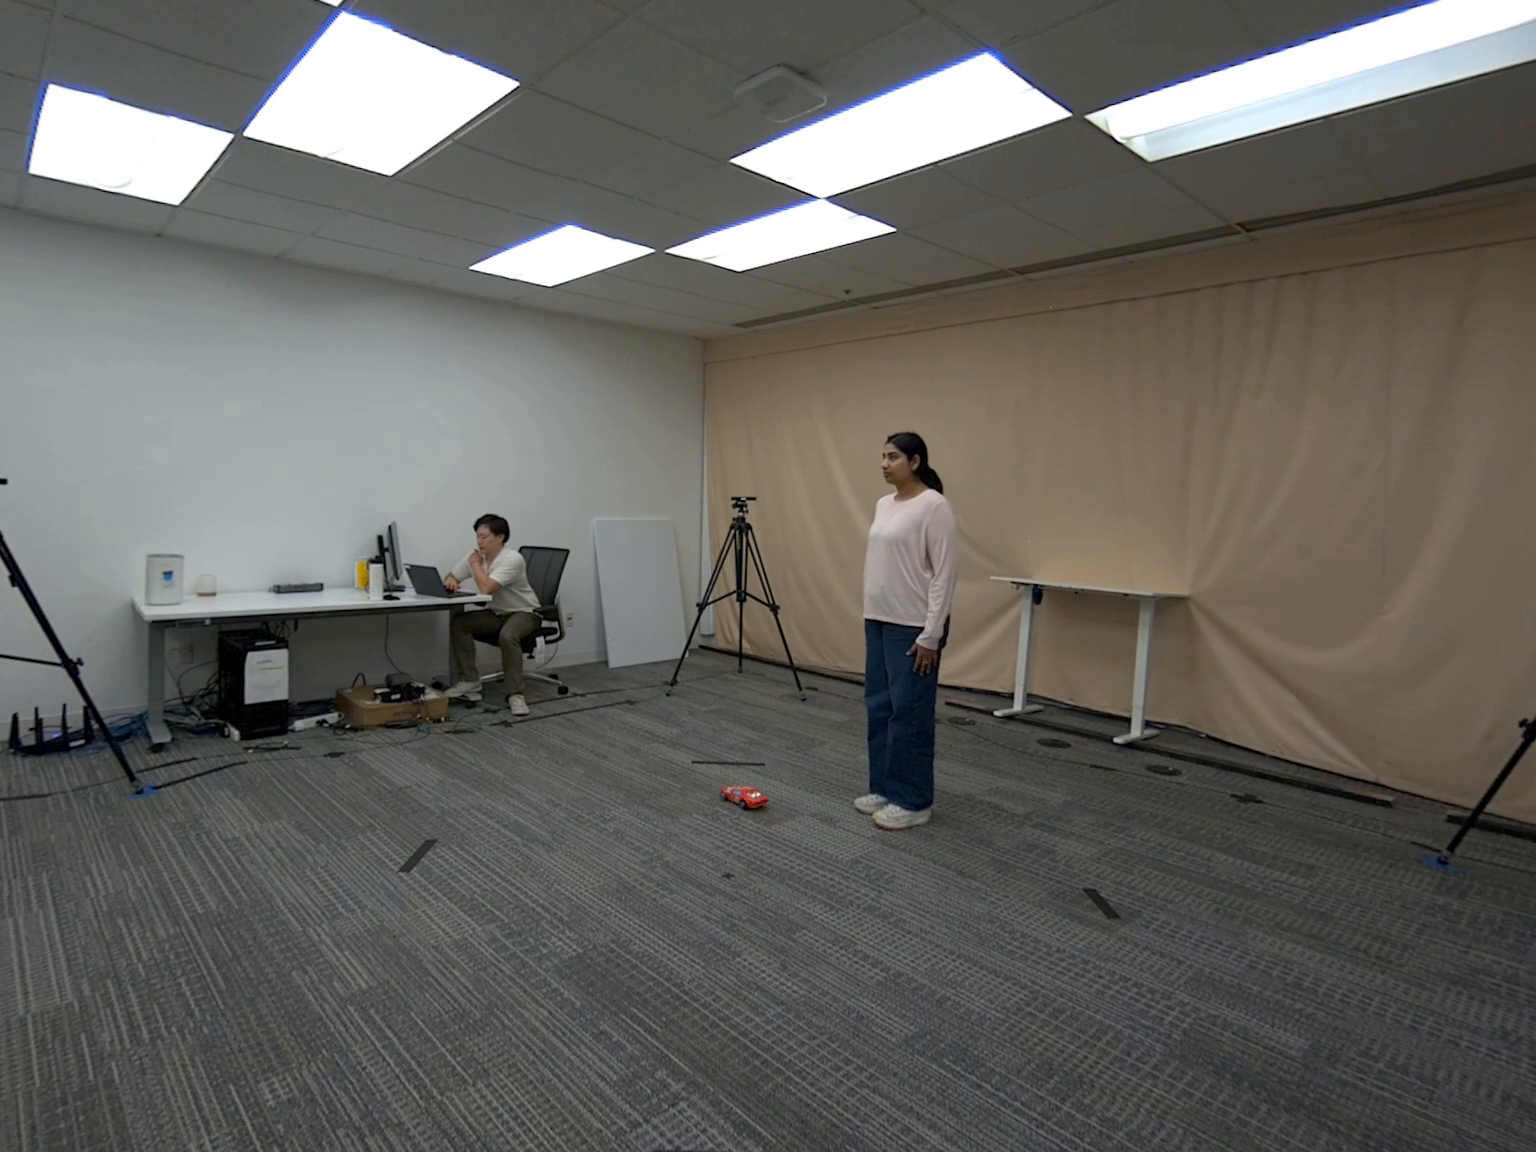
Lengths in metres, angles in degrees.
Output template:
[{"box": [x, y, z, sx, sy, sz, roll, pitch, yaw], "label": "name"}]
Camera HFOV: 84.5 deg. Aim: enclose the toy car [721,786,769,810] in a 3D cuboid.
[{"box": [-0.115, 1.013, 3.849, 0.127, 0.083, 0.259, -1, -6, -41], "label": "toy car"}]
